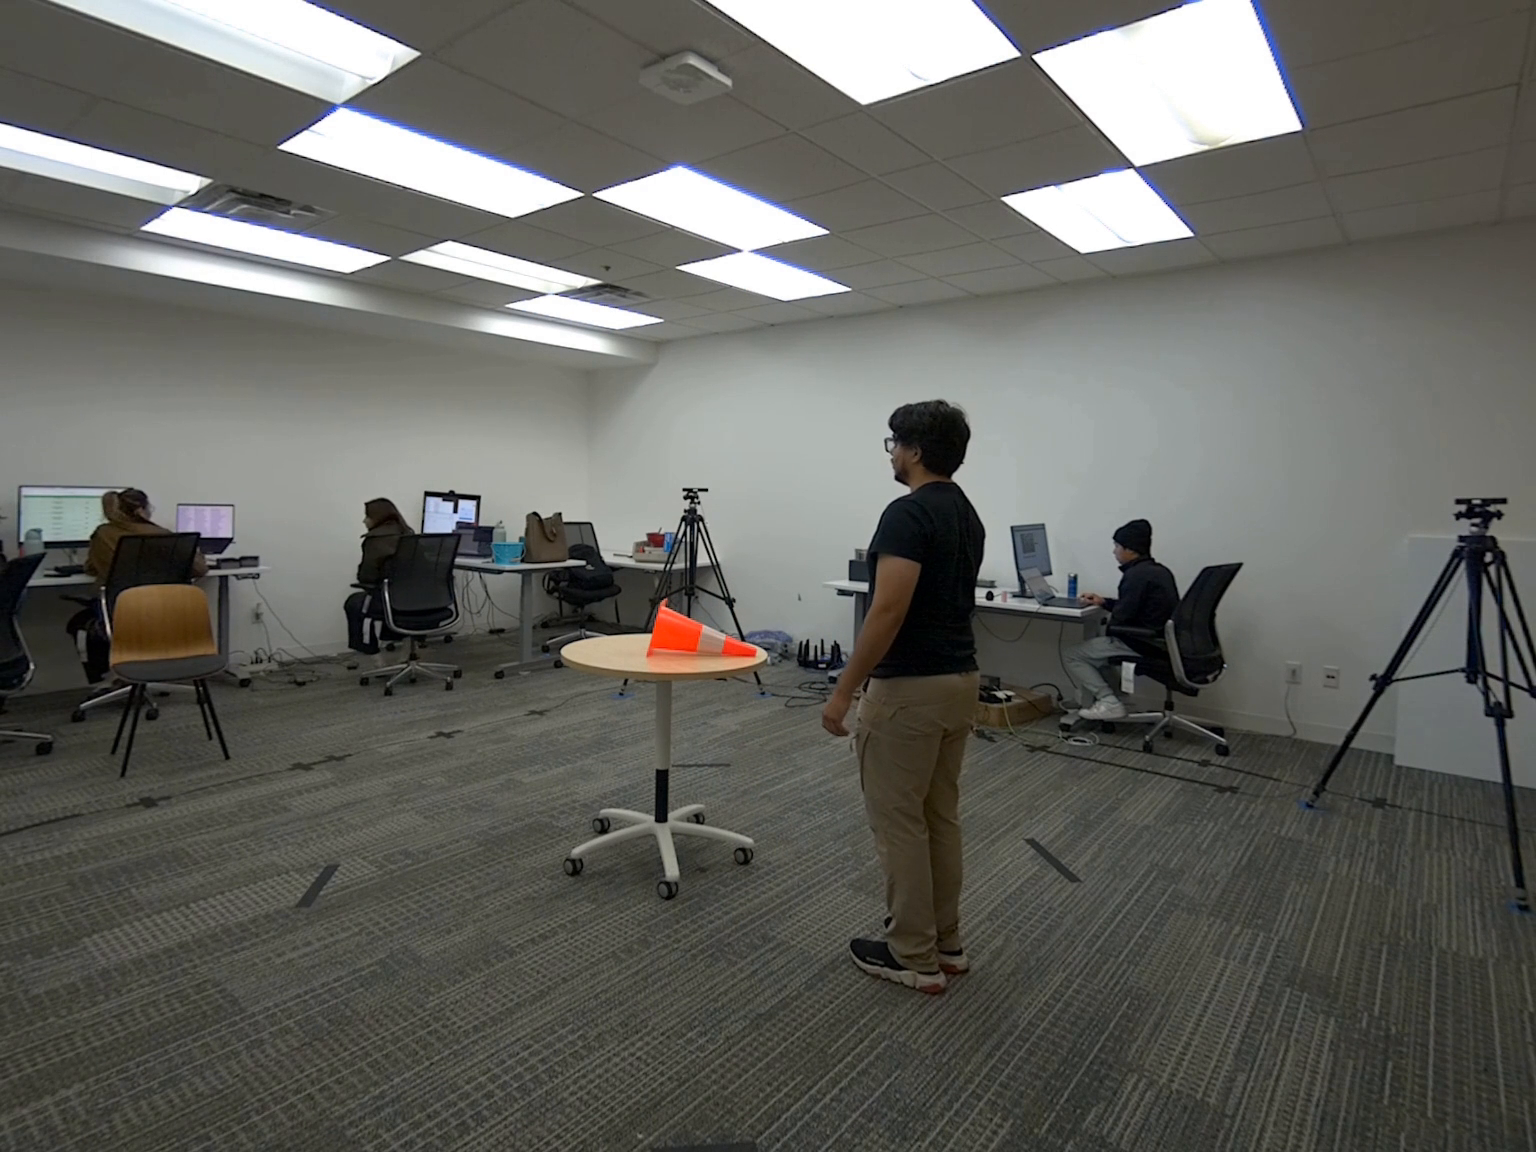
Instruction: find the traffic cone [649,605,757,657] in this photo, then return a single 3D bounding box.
[{"bbox_3d":[-0.234,0.243,3.125,0.382,0.204,0.205,16,-6,-3],"label":"traffic cone"}]
